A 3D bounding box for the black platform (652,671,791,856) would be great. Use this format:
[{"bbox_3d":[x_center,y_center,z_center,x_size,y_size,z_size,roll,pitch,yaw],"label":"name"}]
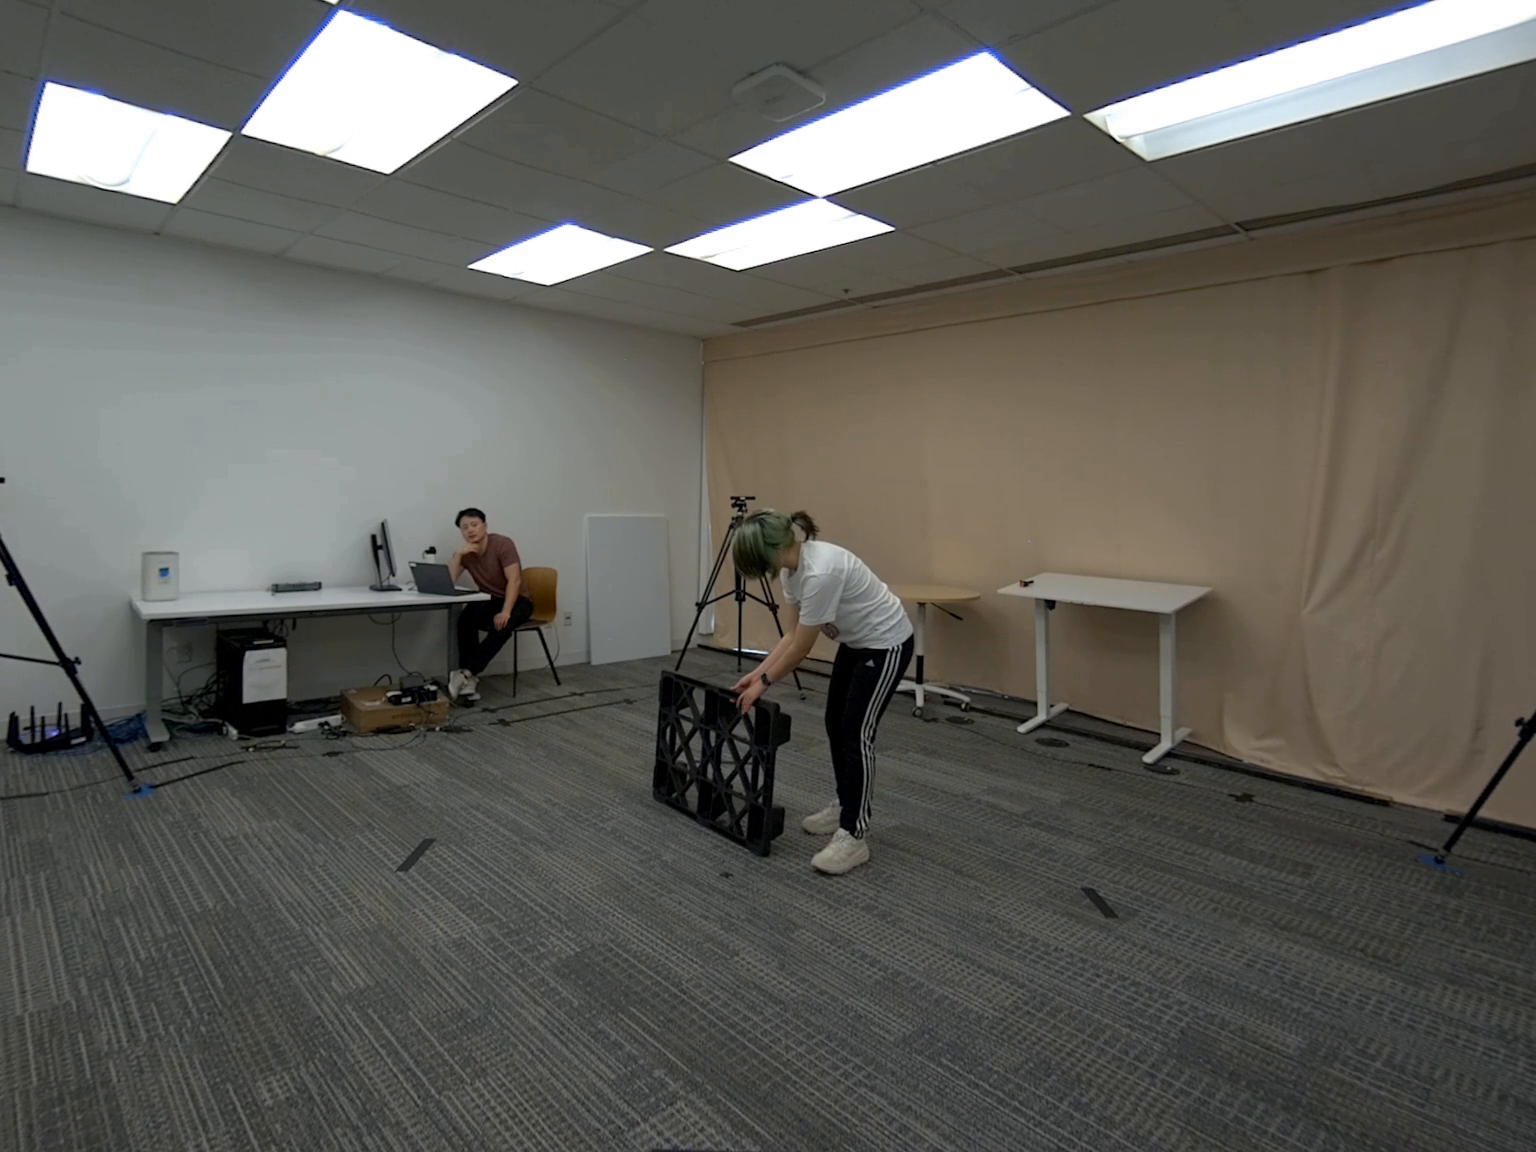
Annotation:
[{"bbox_3d":[-0.213,0.764,3.606,0.140,0.604,0.826,3,3,-39],"label":"black platform"}]
